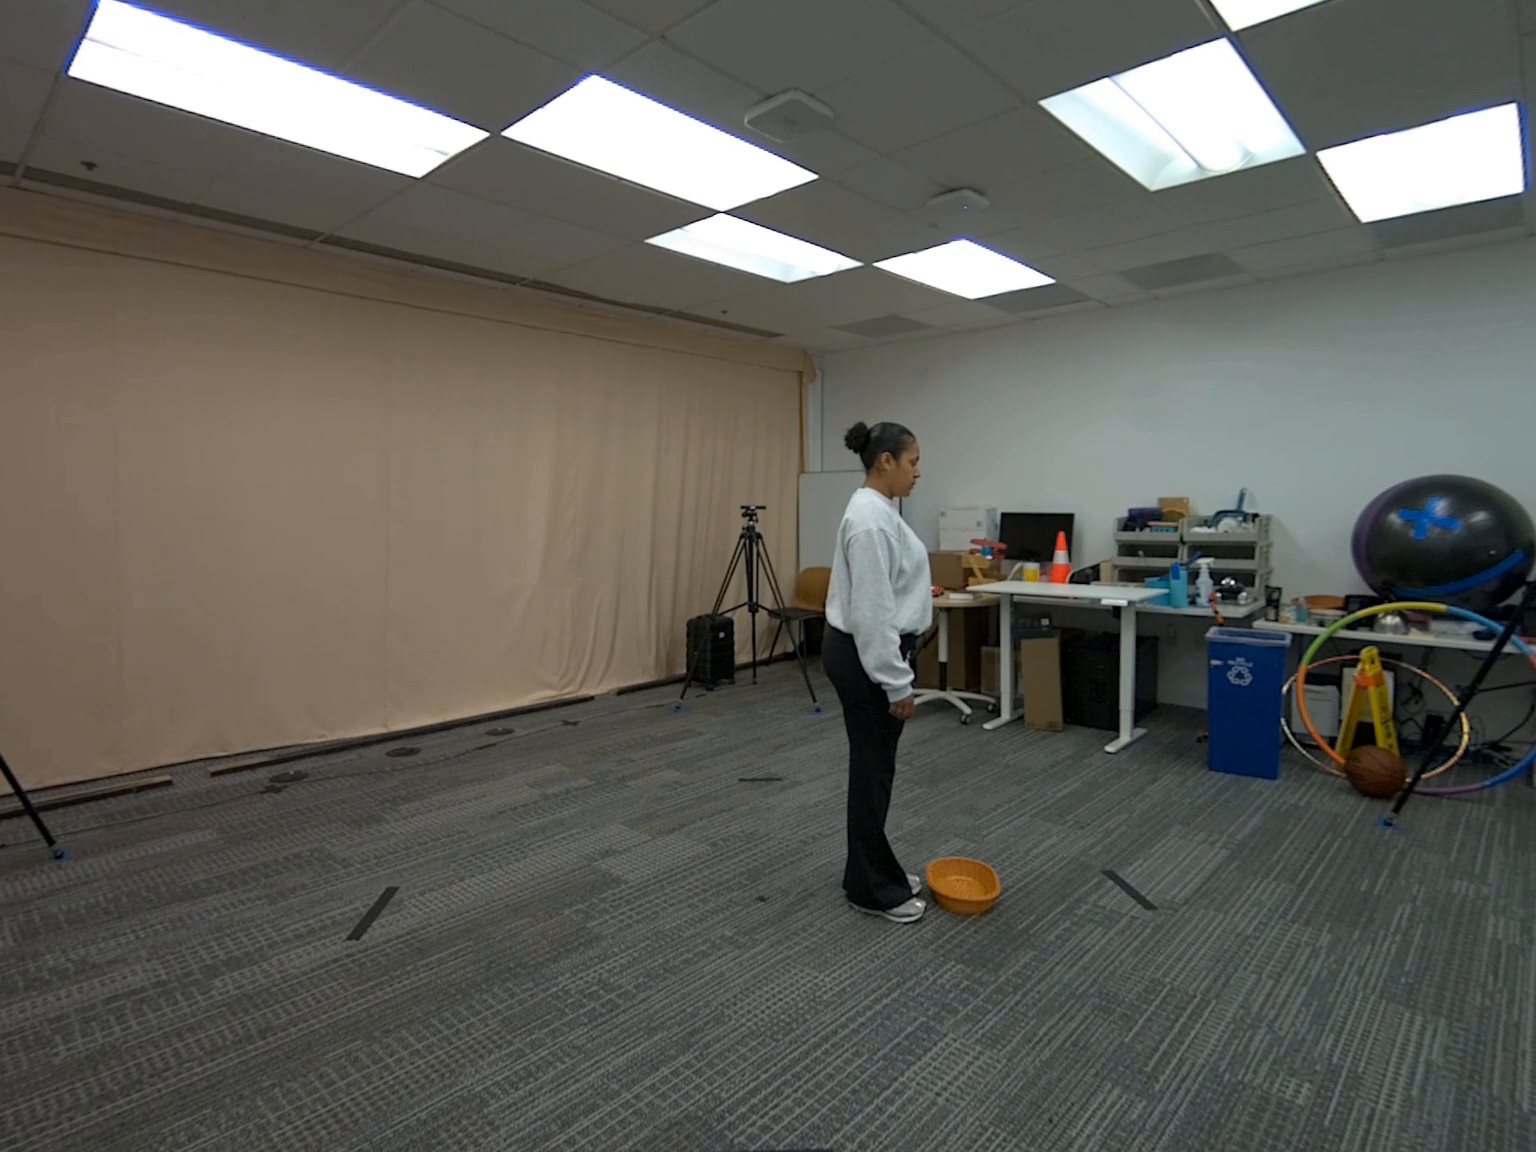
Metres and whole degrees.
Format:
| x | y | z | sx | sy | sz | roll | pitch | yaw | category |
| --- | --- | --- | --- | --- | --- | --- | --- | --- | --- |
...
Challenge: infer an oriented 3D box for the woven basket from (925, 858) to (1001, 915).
| x | y | z | sx | sy | sz | roll | pitch | yaw | category |
| --- | --- | --- | --- | --- | --- | --- | --- | --- | --- |
| 0.692 | 1.103 | 2.989 | 0.256 | 0.073 | 0.346 | 1 | 5 | 12 | woven basket |
